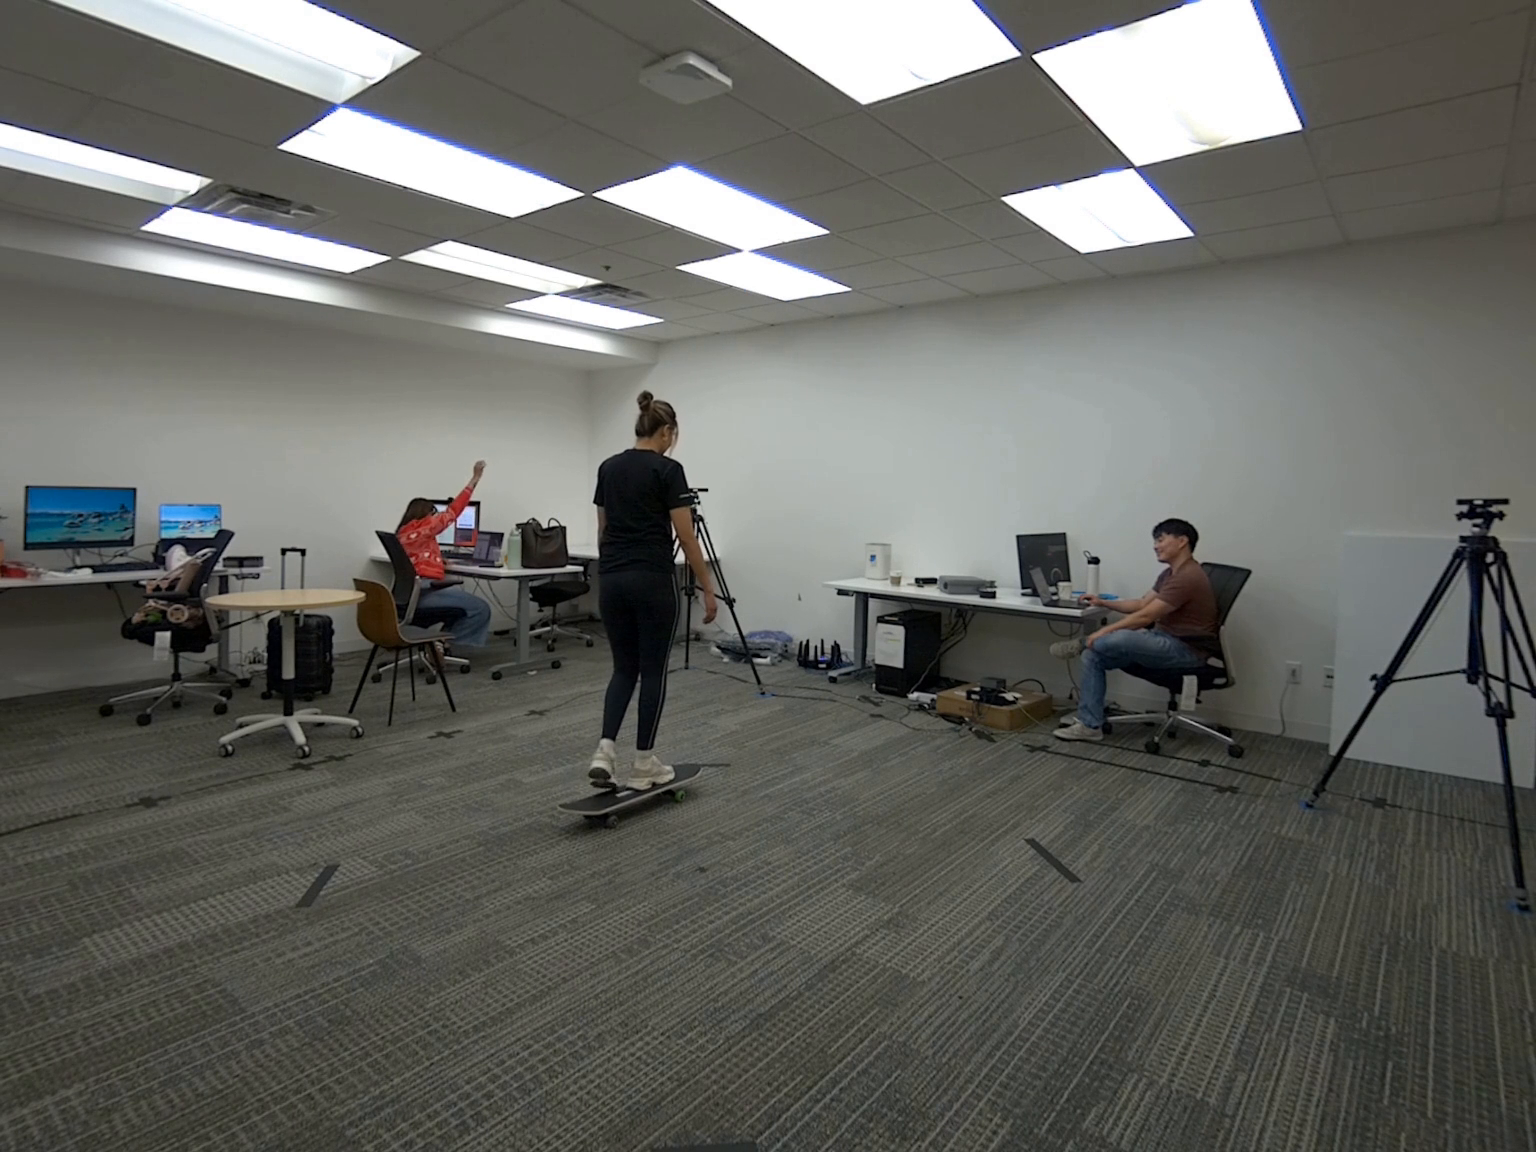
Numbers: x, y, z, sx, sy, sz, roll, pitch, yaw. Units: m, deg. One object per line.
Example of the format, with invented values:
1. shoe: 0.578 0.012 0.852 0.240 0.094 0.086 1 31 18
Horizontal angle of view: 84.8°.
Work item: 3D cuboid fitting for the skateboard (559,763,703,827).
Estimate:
1. skateboard: -0.591 0.961 3.686 0.199 0.110 0.762 -2 3 39
